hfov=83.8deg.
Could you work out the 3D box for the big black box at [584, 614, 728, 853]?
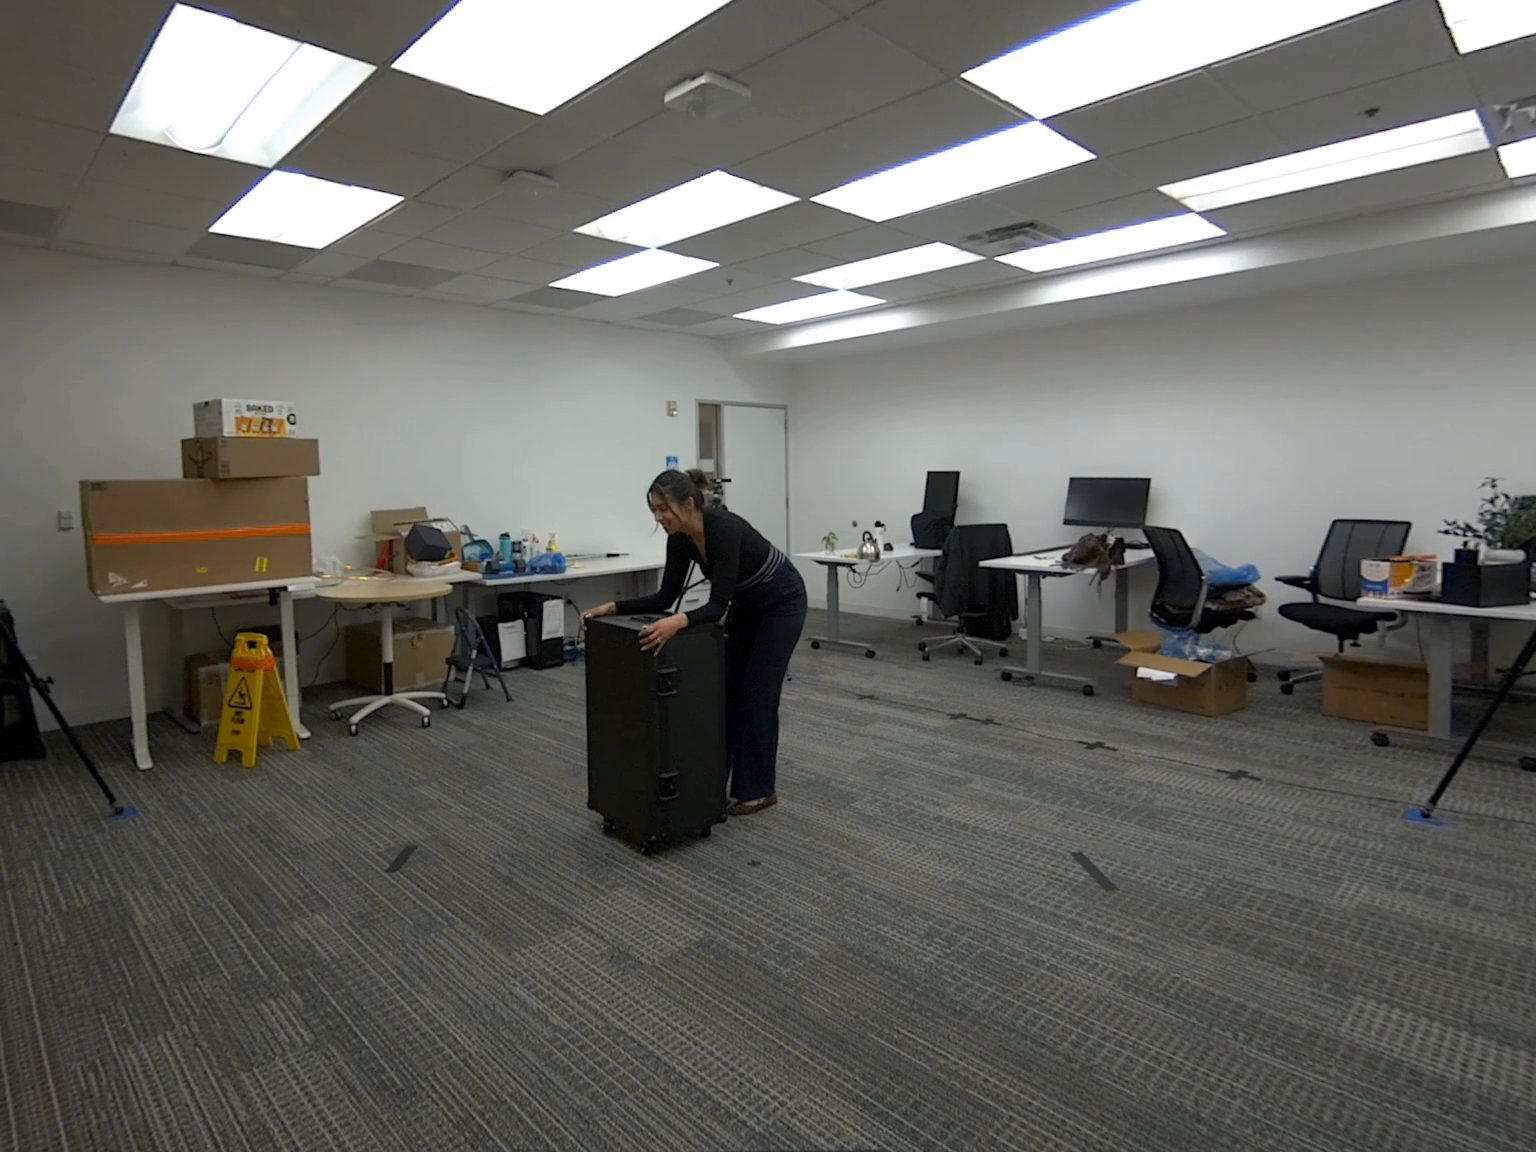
[{"bbox_3d":[-0.449,0.594,3.391,0.385,0.860,0.537,-1,3,-39],"label":"big black box"}]
